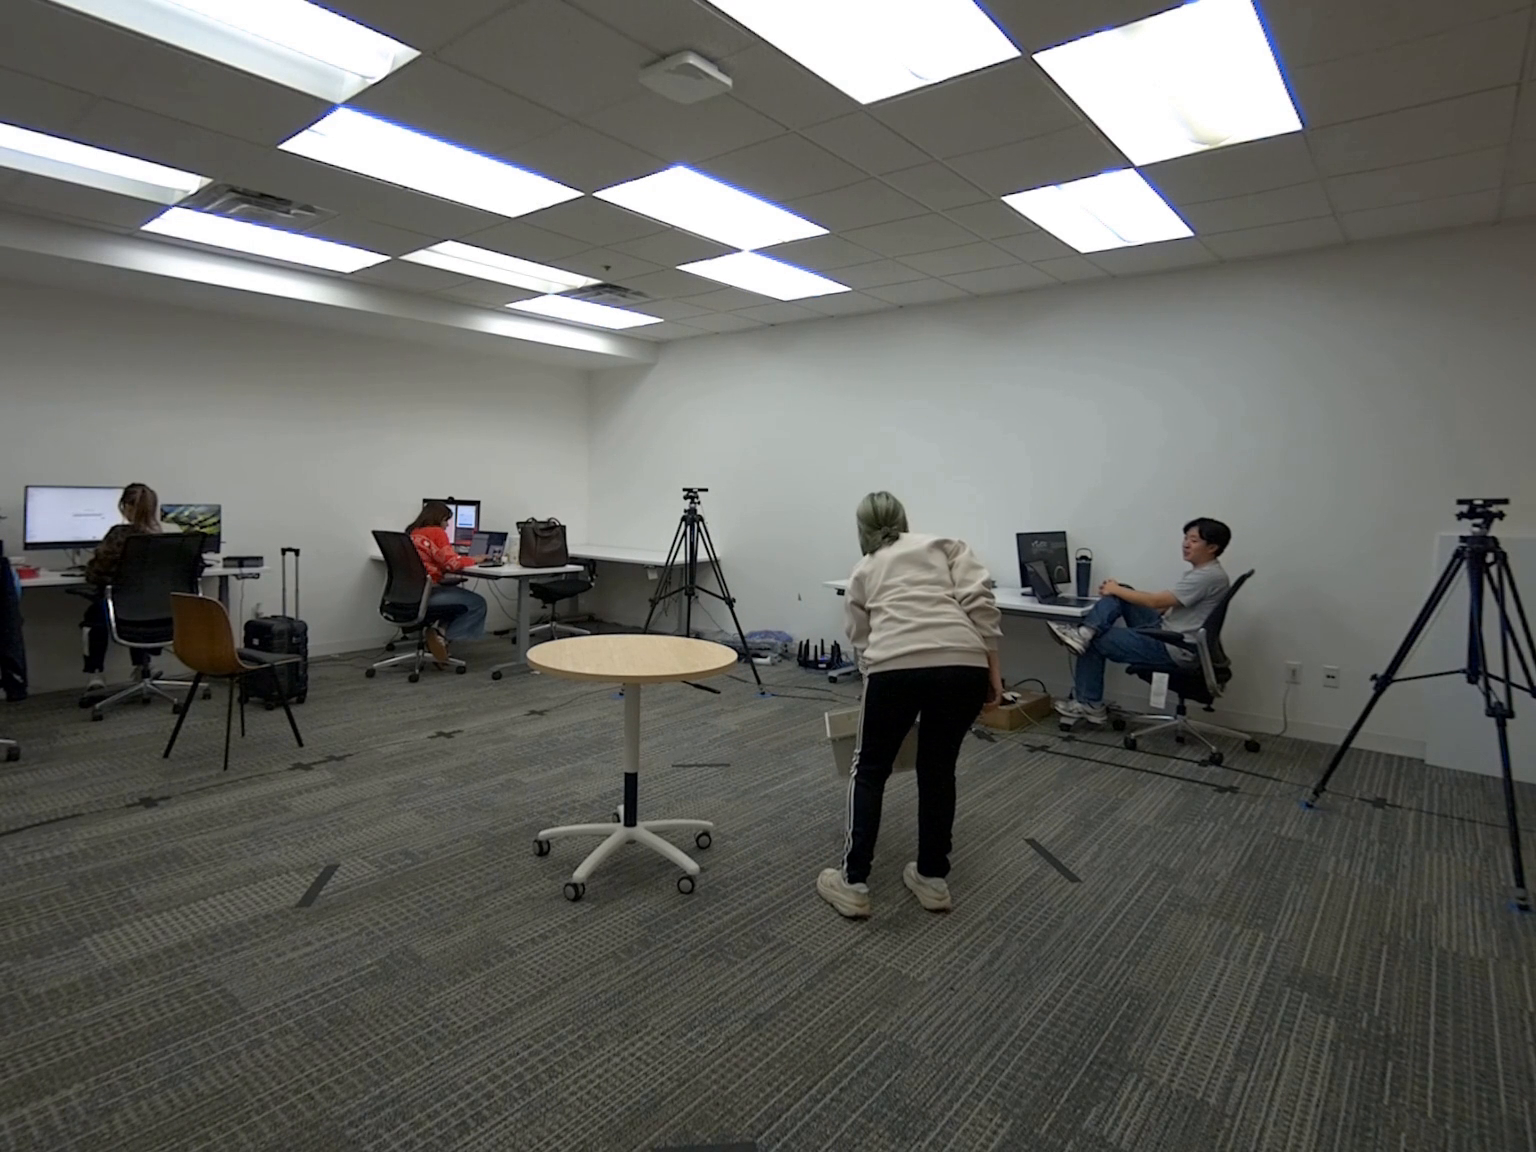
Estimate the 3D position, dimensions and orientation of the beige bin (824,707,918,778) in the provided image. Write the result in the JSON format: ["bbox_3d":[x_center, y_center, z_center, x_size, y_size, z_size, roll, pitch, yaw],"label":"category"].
[{"bbox_3d":[0.429,0.650,3.383,0.379,0.188,0.421,-9,4,4],"label":"beige bin"}]
